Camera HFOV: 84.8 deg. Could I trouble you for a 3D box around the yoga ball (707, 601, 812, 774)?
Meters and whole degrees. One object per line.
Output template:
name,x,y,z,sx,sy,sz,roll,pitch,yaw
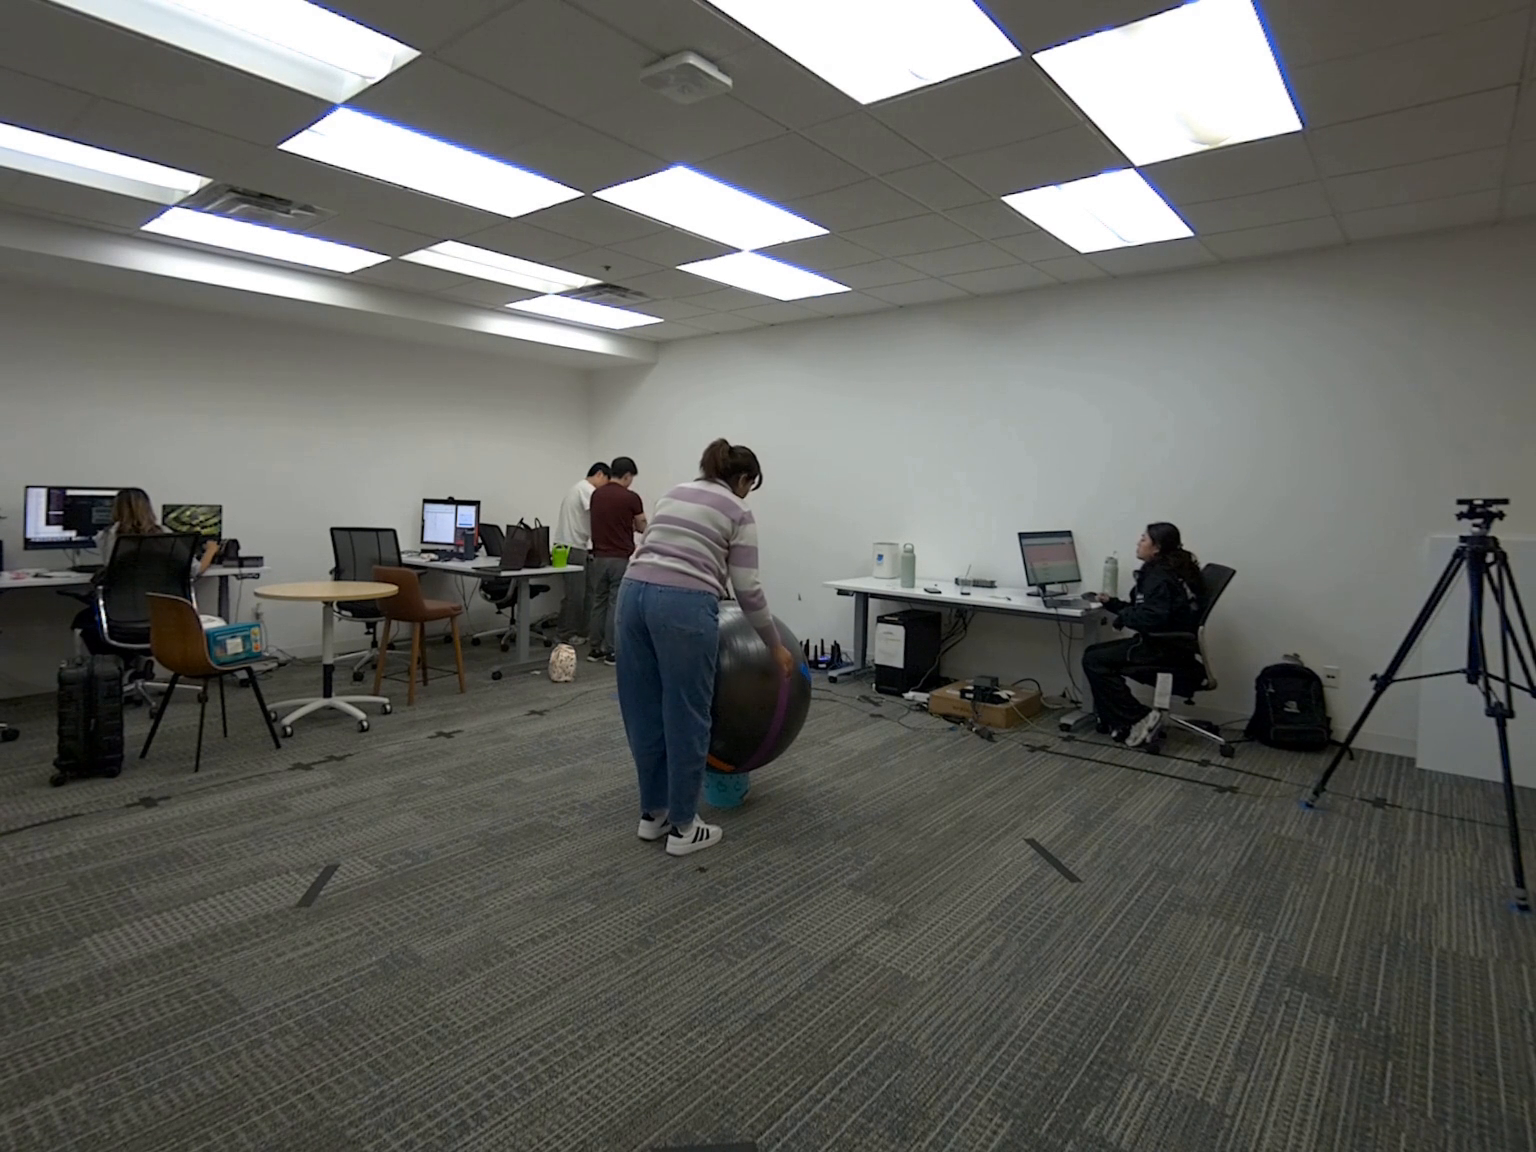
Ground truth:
yoga ball,-0.188,0.493,3.816,0.757,0.756,0.761,1,4,-2
